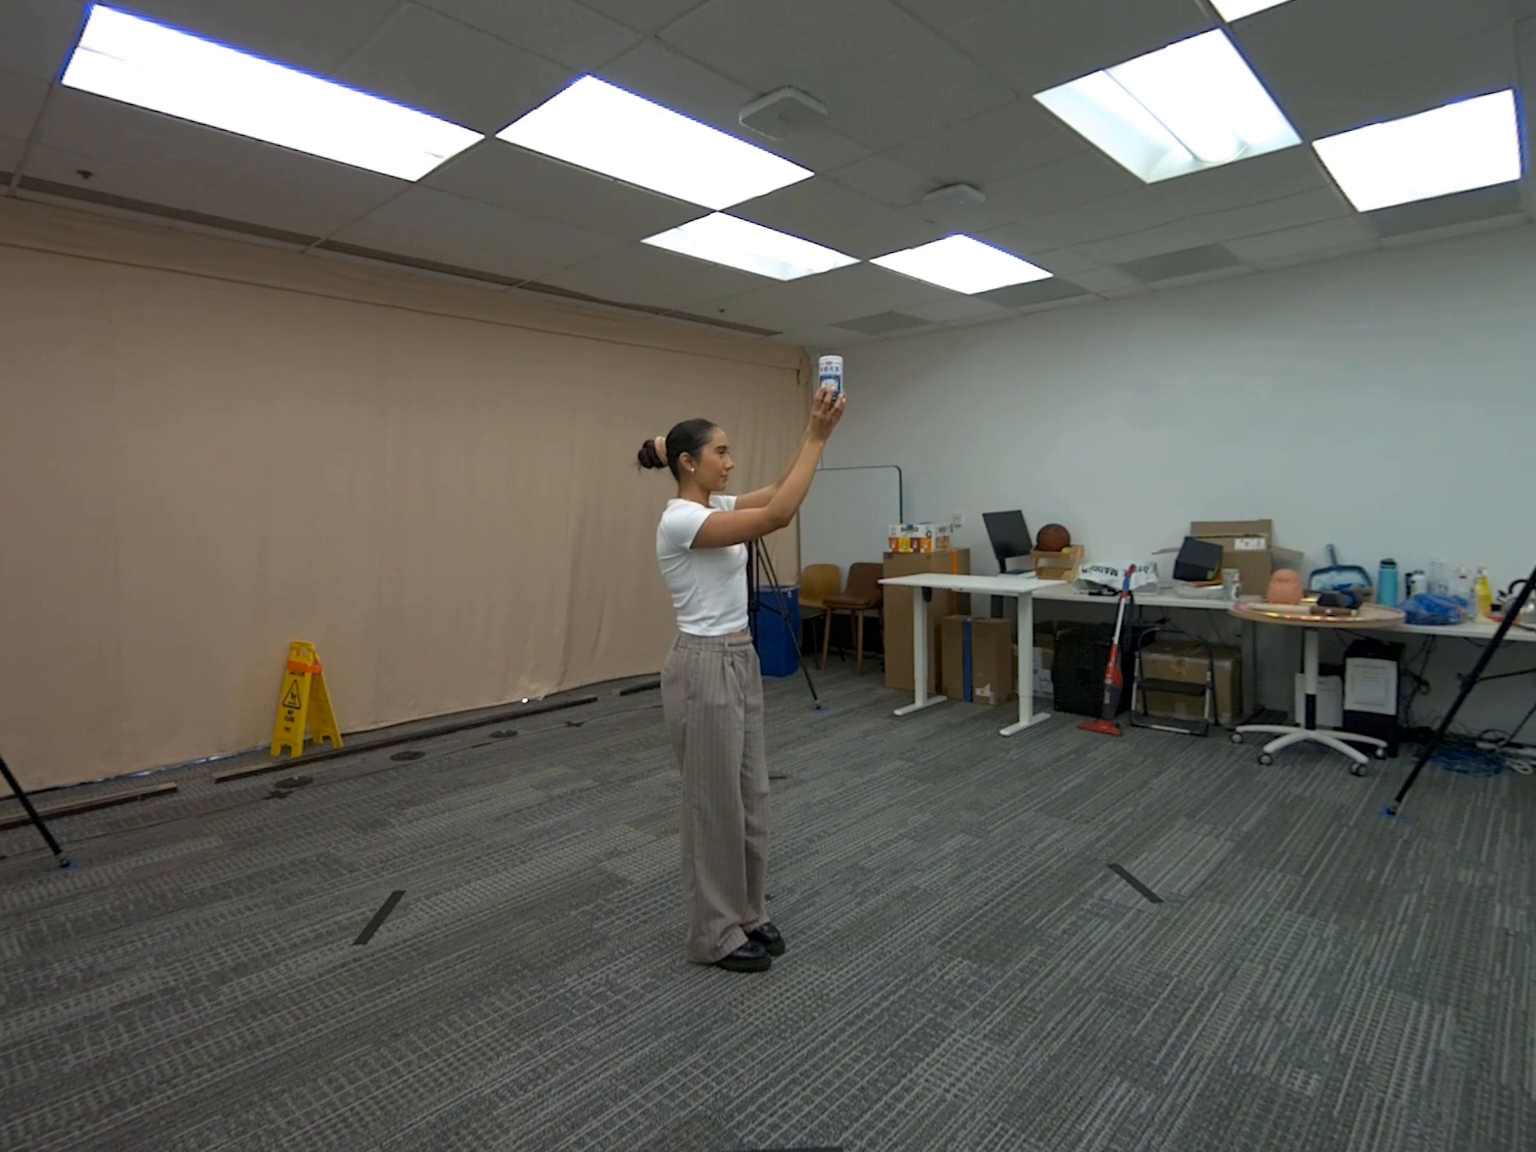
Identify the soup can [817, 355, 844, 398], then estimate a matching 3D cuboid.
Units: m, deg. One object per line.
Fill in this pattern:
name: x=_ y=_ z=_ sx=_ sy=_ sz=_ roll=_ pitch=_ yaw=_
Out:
soup can: x=0.180 y=-0.550 z=2.336 sx=0.067 sy=0.121 sz=0.067 roll=1 pitch=3 yaw=-2
